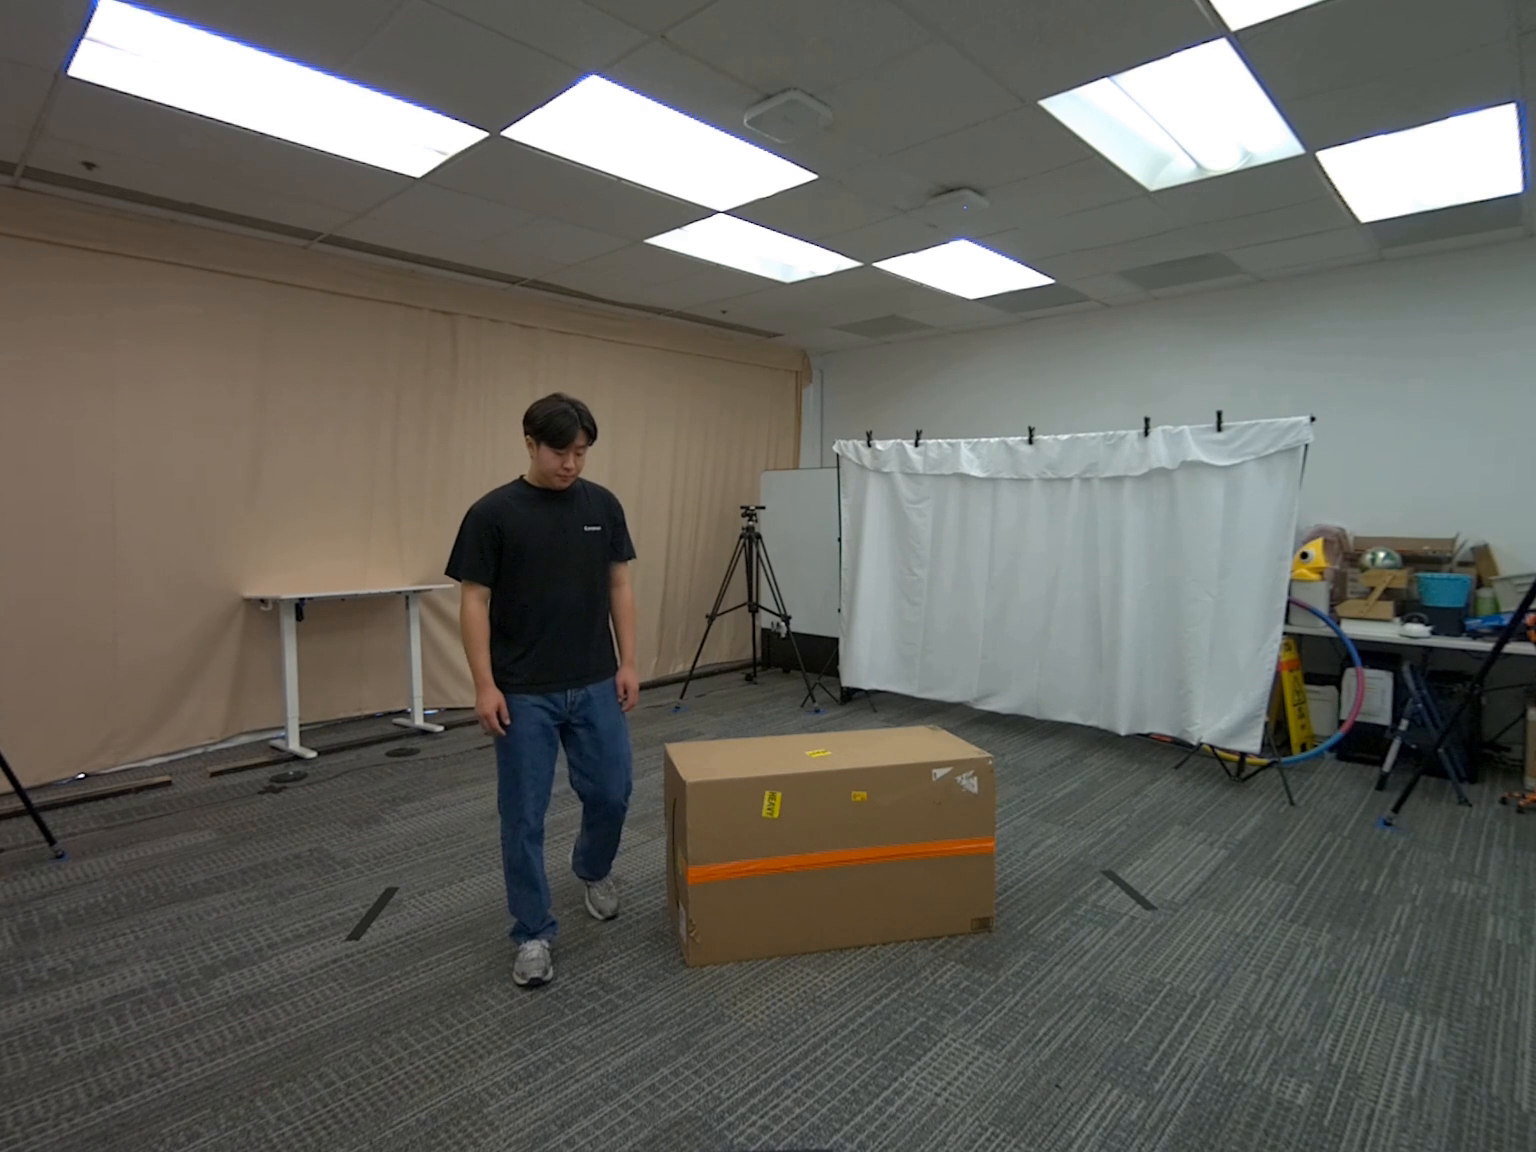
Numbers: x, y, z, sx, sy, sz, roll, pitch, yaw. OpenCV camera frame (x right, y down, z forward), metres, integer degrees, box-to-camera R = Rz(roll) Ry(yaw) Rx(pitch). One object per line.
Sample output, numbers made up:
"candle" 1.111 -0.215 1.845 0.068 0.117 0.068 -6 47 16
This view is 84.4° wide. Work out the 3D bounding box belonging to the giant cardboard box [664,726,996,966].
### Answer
"giant cardboard box" 0.193 0.867 2.831 1.013 0.582 0.454 -2 4 -13
